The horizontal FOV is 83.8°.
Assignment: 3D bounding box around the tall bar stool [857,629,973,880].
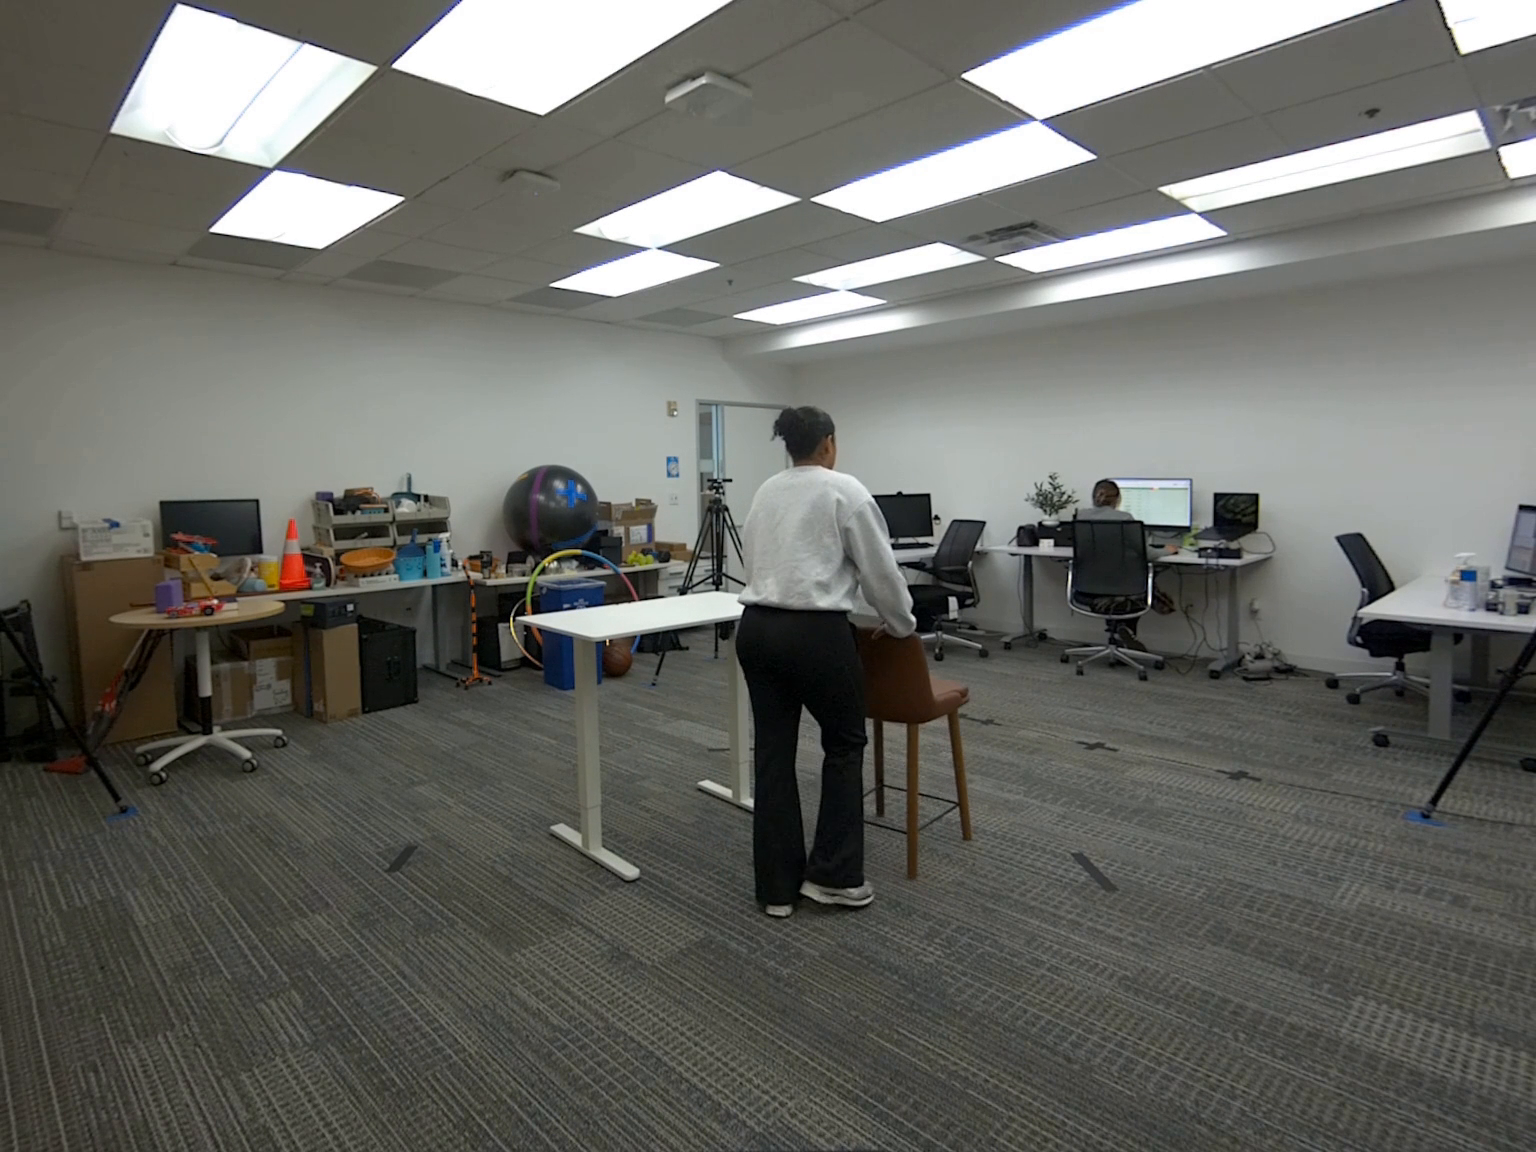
[{"bbox_3d":[0.477,0.589,3.212,0.470,0.885,0.456,3,7,38],"label":"tall bar stool"}]
